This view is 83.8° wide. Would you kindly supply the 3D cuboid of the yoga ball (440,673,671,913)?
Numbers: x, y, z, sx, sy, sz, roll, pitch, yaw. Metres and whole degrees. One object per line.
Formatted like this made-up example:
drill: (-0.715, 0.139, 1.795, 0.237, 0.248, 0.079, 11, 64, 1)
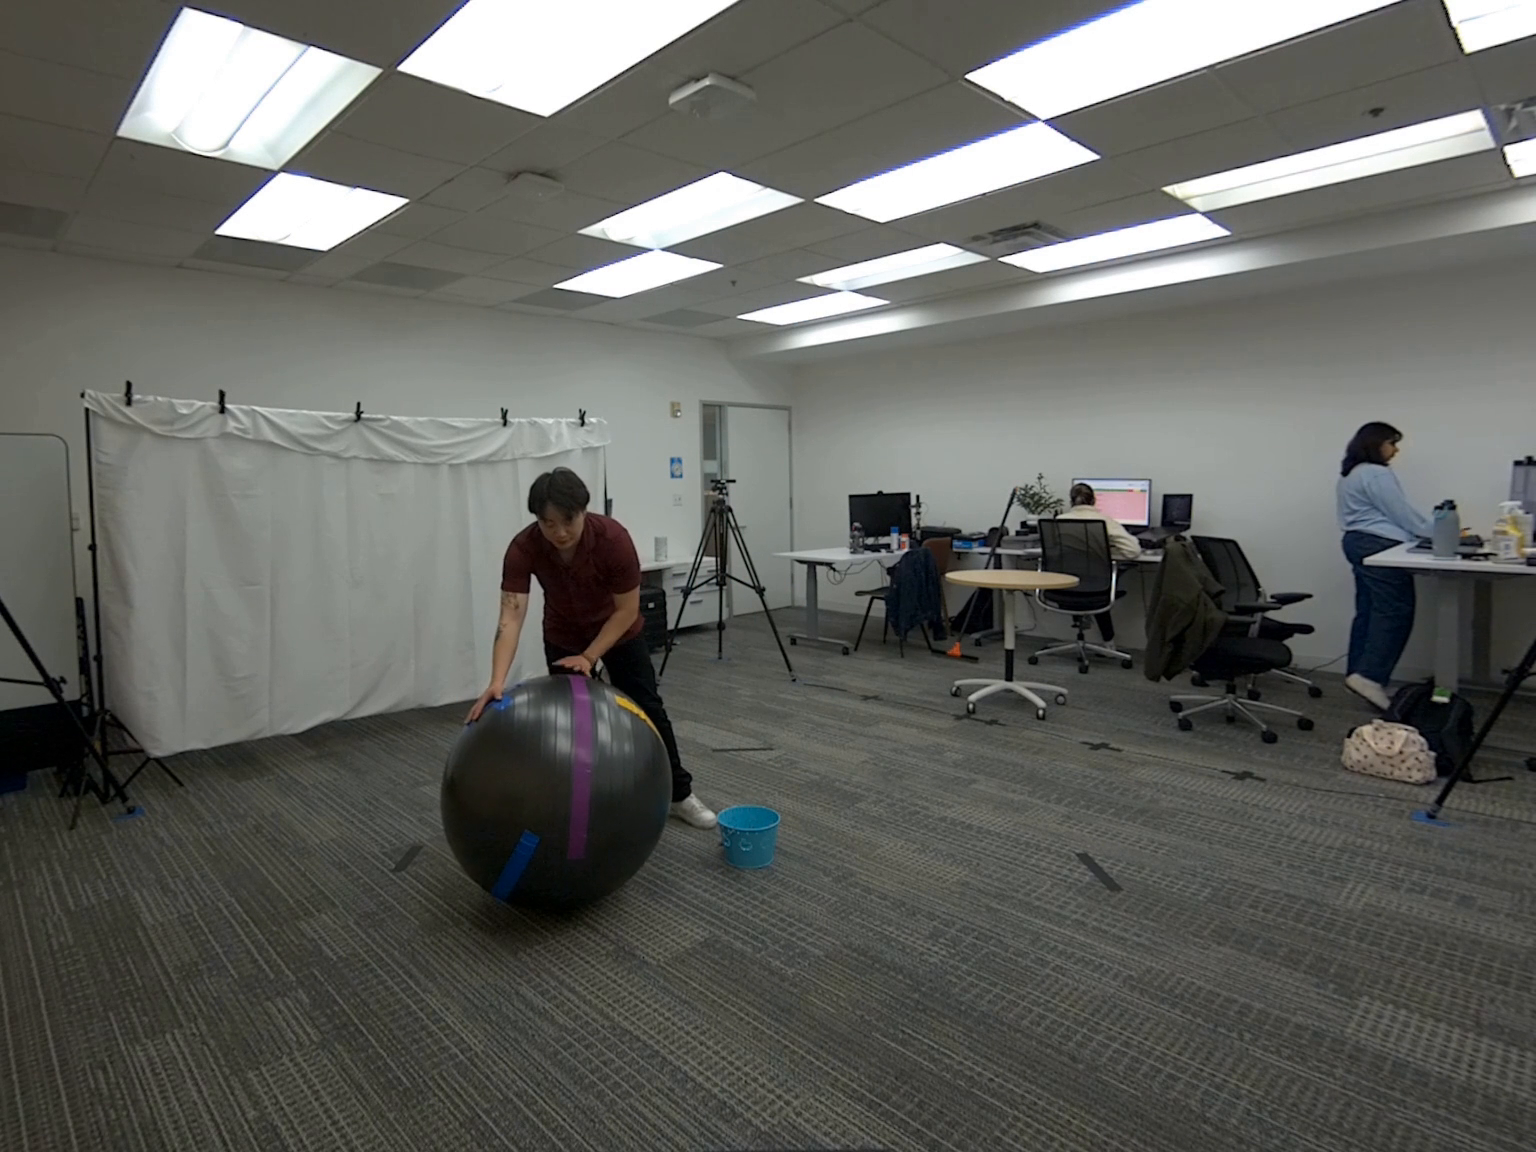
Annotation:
yoga ball: (-0.705, 0.721, 2.871, 0.757, 0.755, 0.762, -1, 5, -2)
